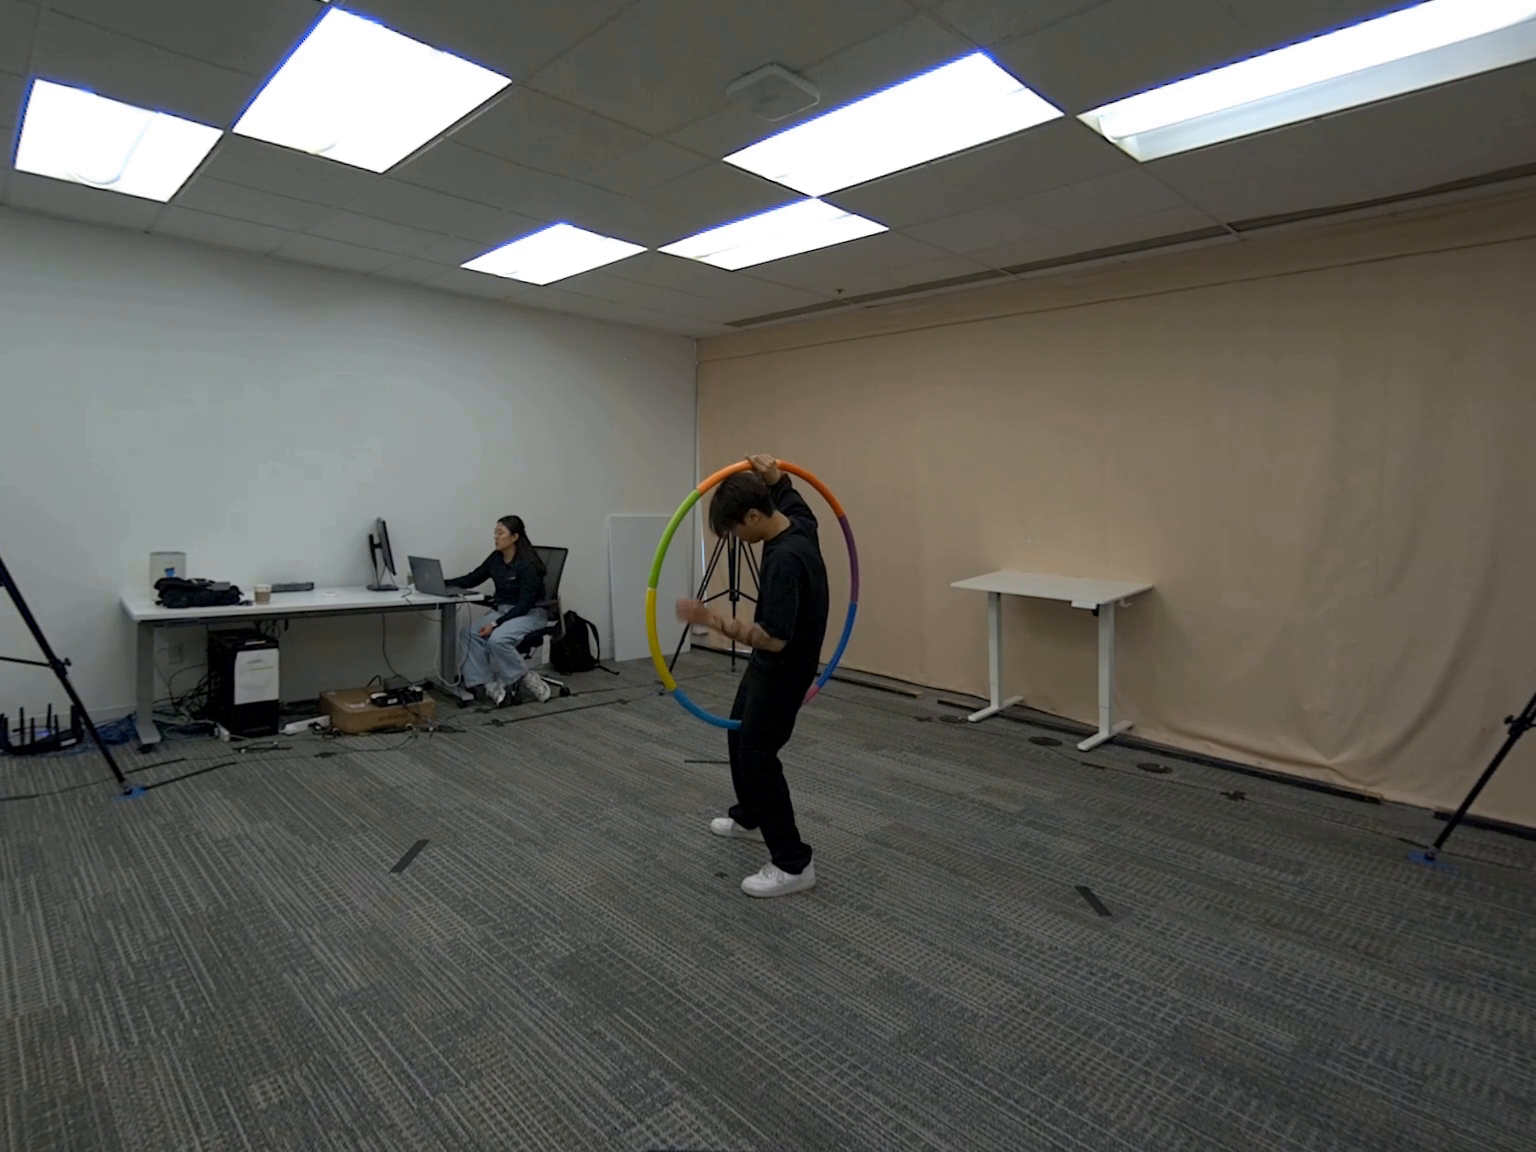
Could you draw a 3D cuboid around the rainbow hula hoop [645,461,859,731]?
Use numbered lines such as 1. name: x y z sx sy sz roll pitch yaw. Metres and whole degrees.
1. rainbow hula hoop: -0.032 0.065 3.091 0.957 0.975 0.036 -2 7 -36
